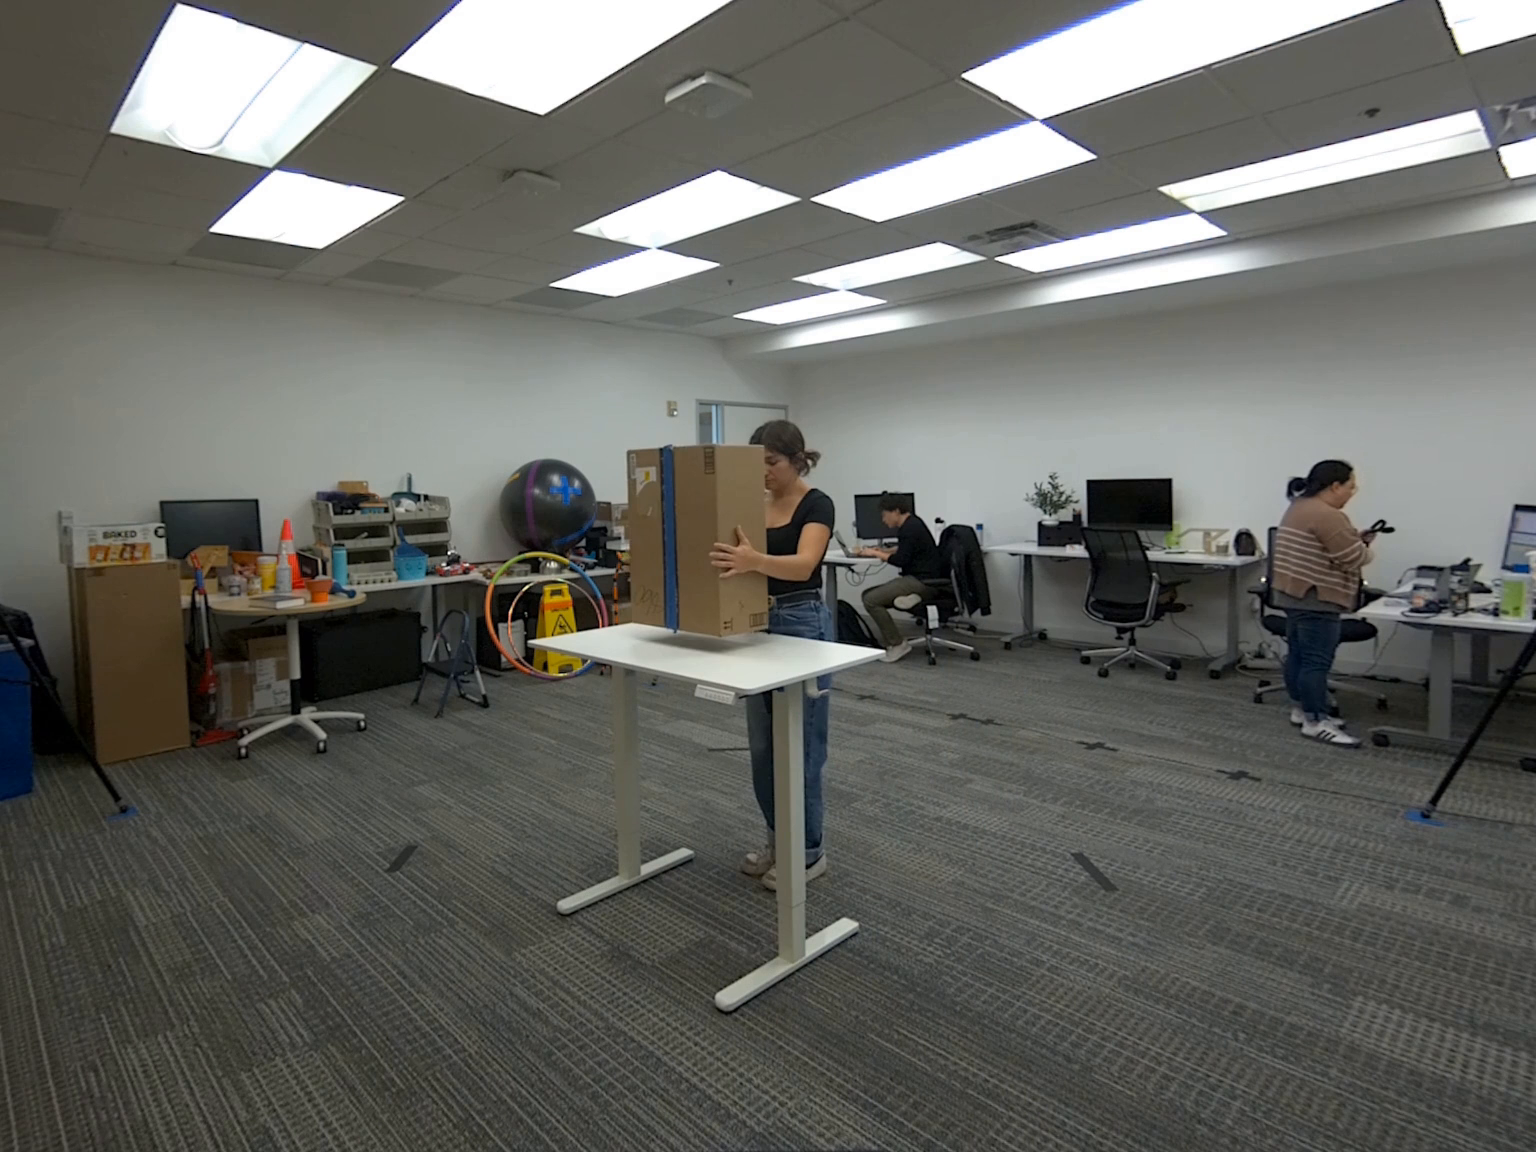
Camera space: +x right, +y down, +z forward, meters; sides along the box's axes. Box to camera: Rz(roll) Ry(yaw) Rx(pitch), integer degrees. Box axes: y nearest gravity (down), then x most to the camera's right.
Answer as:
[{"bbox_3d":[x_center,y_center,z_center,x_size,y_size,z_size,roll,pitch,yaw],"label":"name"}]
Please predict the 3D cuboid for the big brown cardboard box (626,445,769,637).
[{"bbox_3d":[-0.227,-0.129,2.712,0.430,0.587,0.227,2,4,44],"label":"big brown cardboard box"}]
